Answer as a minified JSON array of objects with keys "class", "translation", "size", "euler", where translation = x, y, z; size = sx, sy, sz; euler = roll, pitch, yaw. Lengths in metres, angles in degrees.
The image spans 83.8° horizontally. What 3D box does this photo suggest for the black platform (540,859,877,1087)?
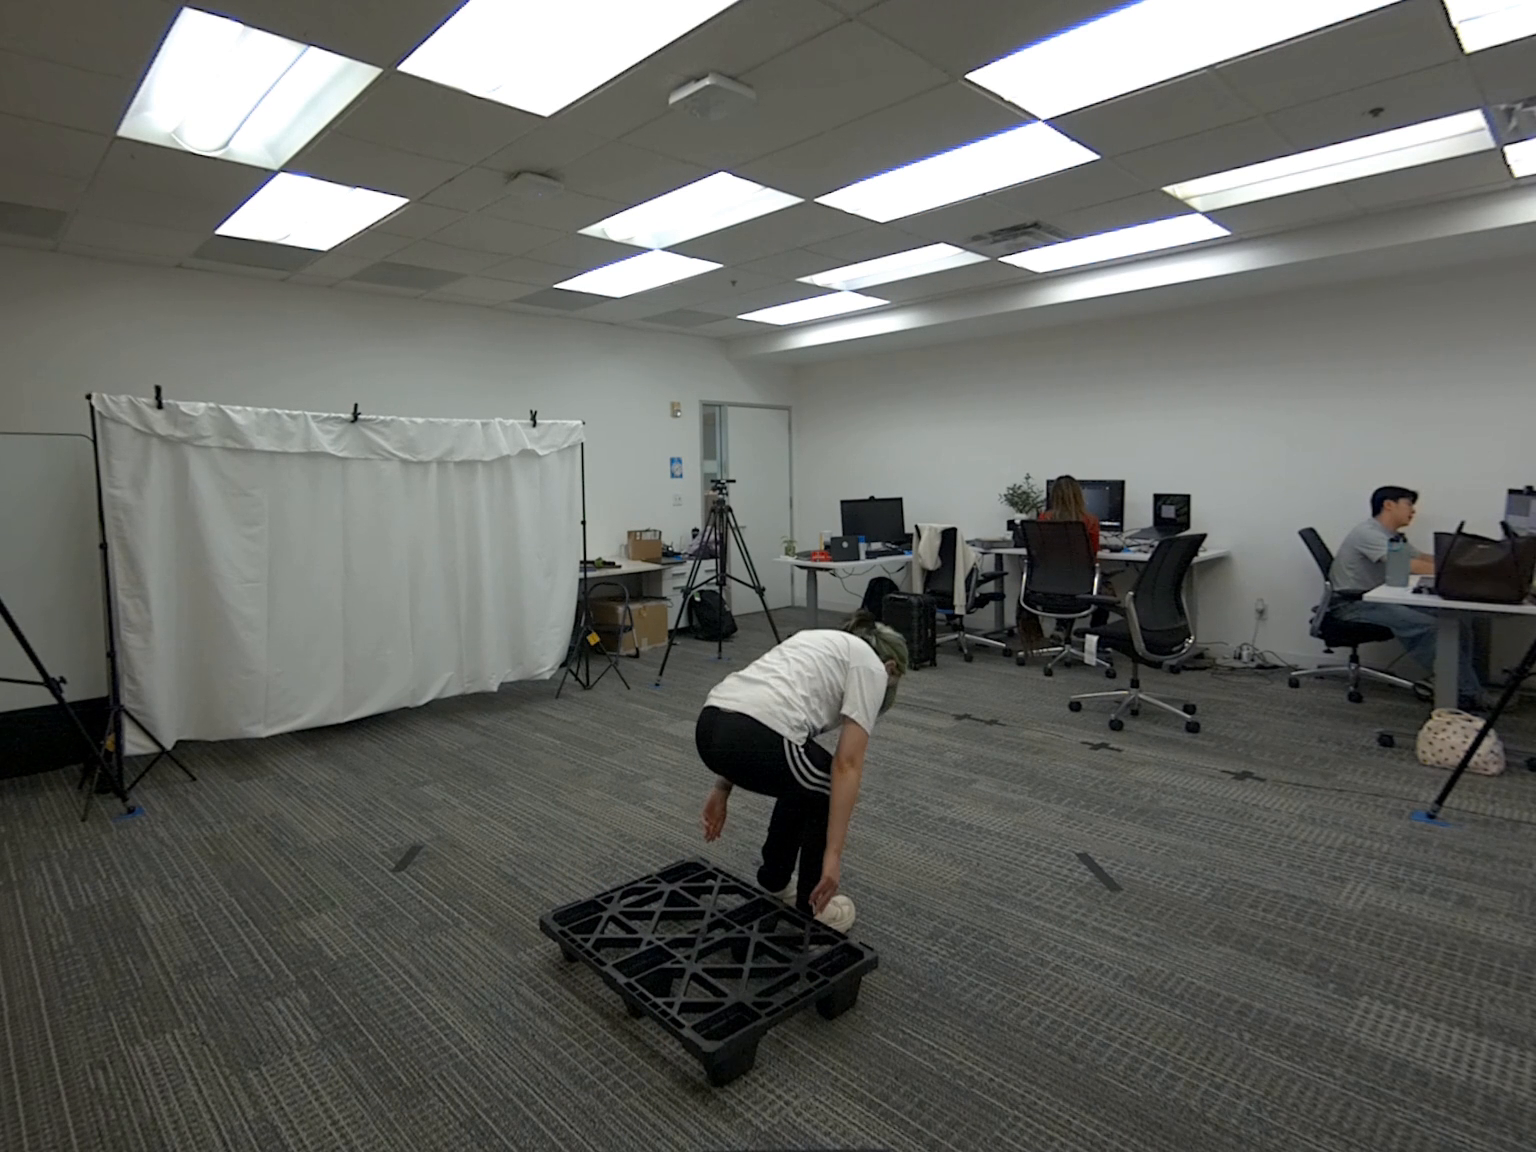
[{"class":"black platform","translation":[-0.184,1.067,2.399],"size":[0.589,0.142,0.831],"euler":[-6,8,-41]}]
